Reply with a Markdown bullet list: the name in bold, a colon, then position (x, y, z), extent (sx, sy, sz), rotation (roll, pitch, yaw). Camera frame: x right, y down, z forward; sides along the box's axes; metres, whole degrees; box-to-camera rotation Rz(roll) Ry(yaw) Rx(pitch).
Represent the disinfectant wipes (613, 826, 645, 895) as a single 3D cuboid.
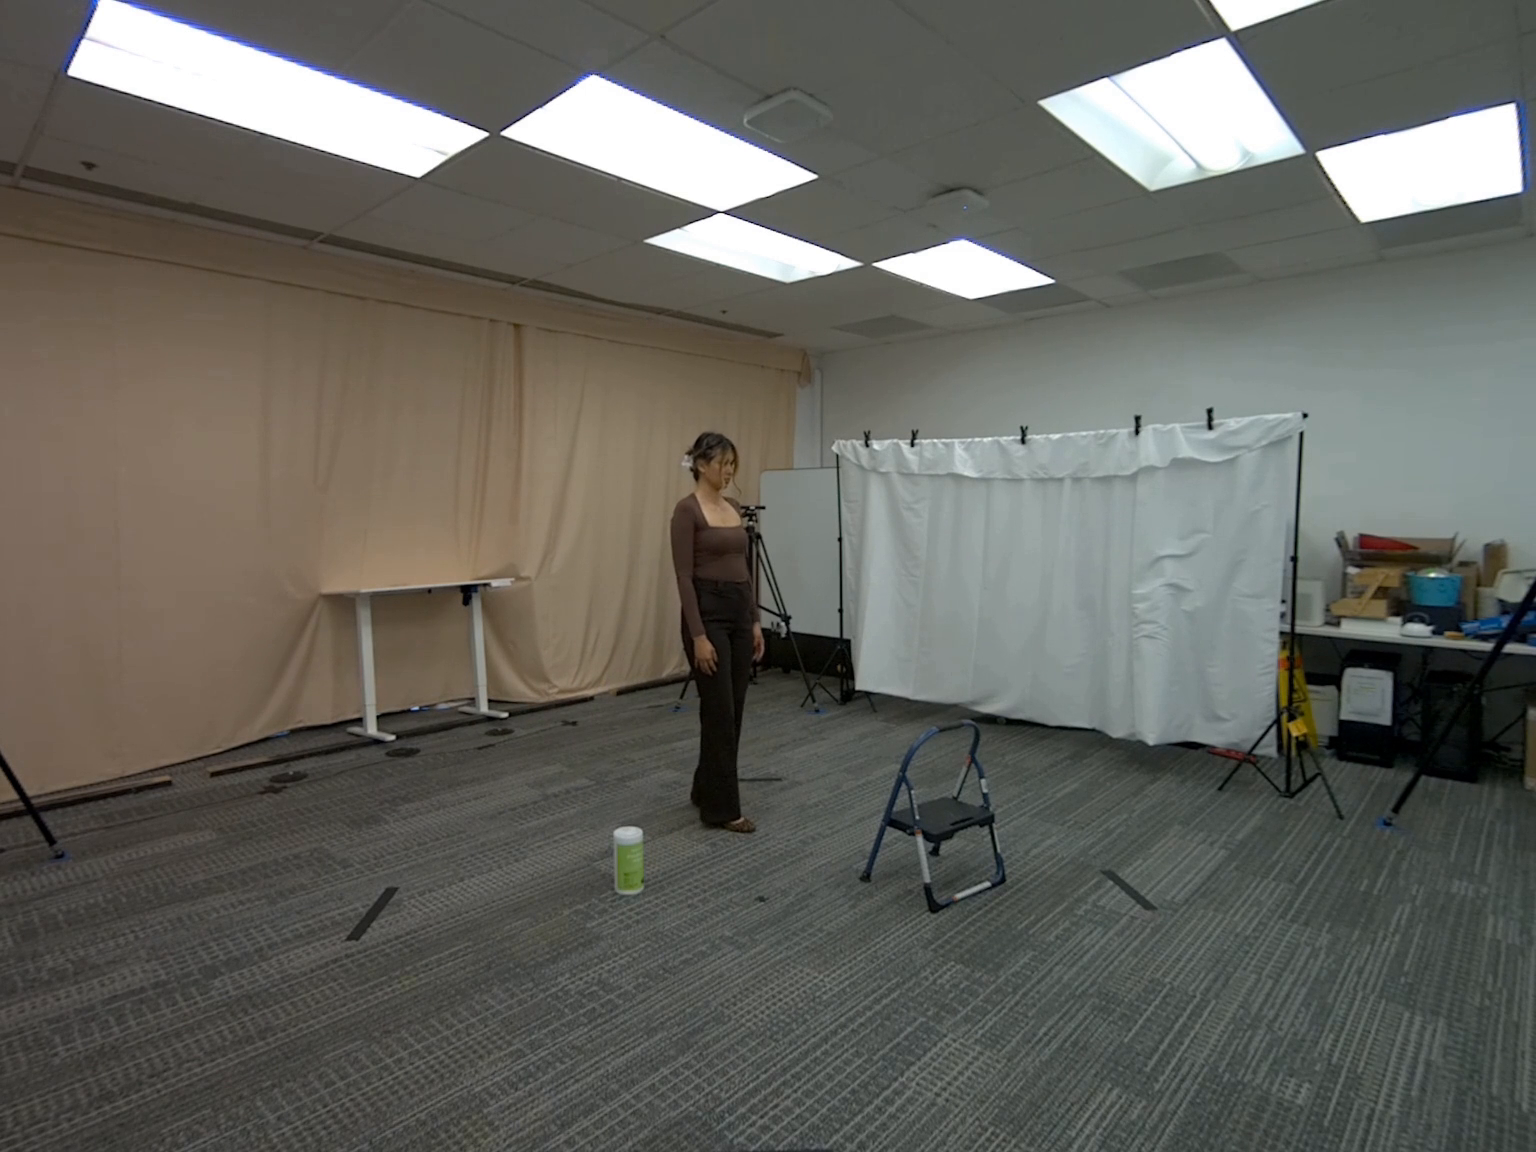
- **disinfectant wipes**: position (-0.511, 1.039, 3.047), extent (0.117, 0.217, 0.118), rotation (3, 3, -2)
